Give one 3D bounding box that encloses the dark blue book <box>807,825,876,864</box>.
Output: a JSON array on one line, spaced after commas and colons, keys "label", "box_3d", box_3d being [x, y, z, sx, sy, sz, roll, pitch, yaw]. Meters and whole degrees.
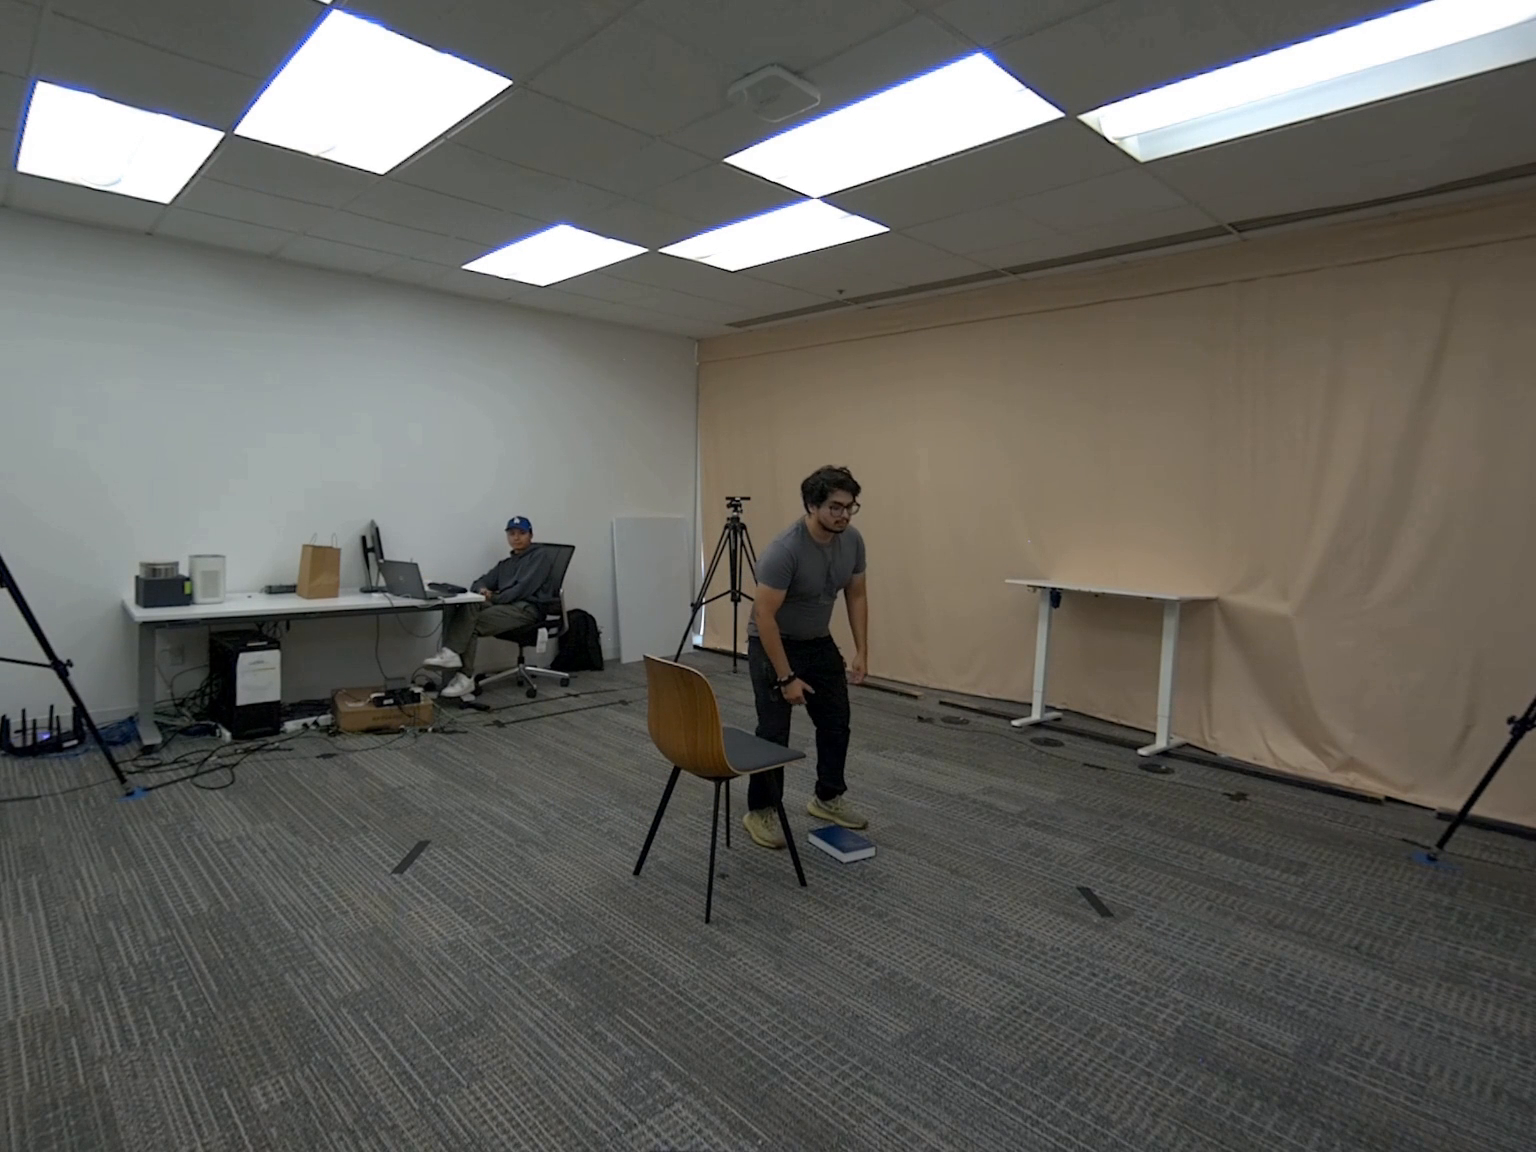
[{"label": "dark blue book", "box_3d": [0.278, 1.069, 3.372, 0.160, 0.045, 0.251, -2, 6, -31]}]
